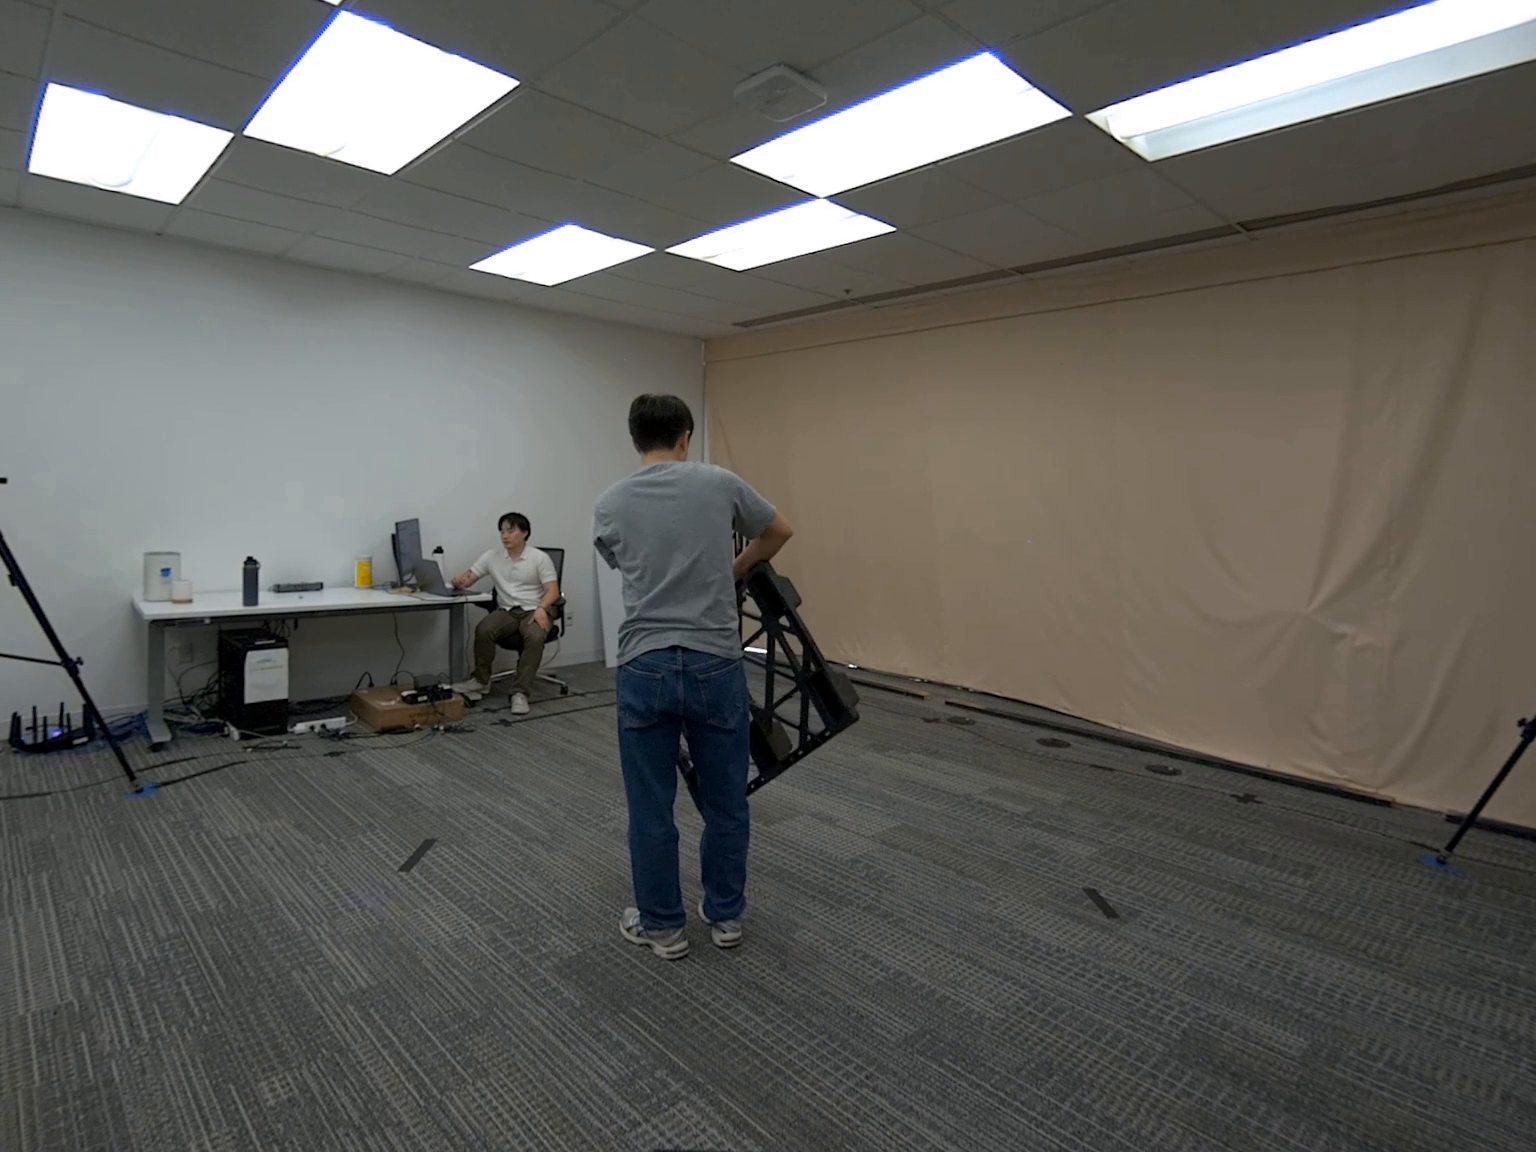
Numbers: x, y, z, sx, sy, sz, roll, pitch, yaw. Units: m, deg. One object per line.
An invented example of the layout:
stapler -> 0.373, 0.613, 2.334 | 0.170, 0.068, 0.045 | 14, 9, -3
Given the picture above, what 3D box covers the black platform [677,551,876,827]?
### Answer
black platform -> -0.101, 0.397, 2.916 | 0.140, 0.618, 0.806 | -4, -32, -49
